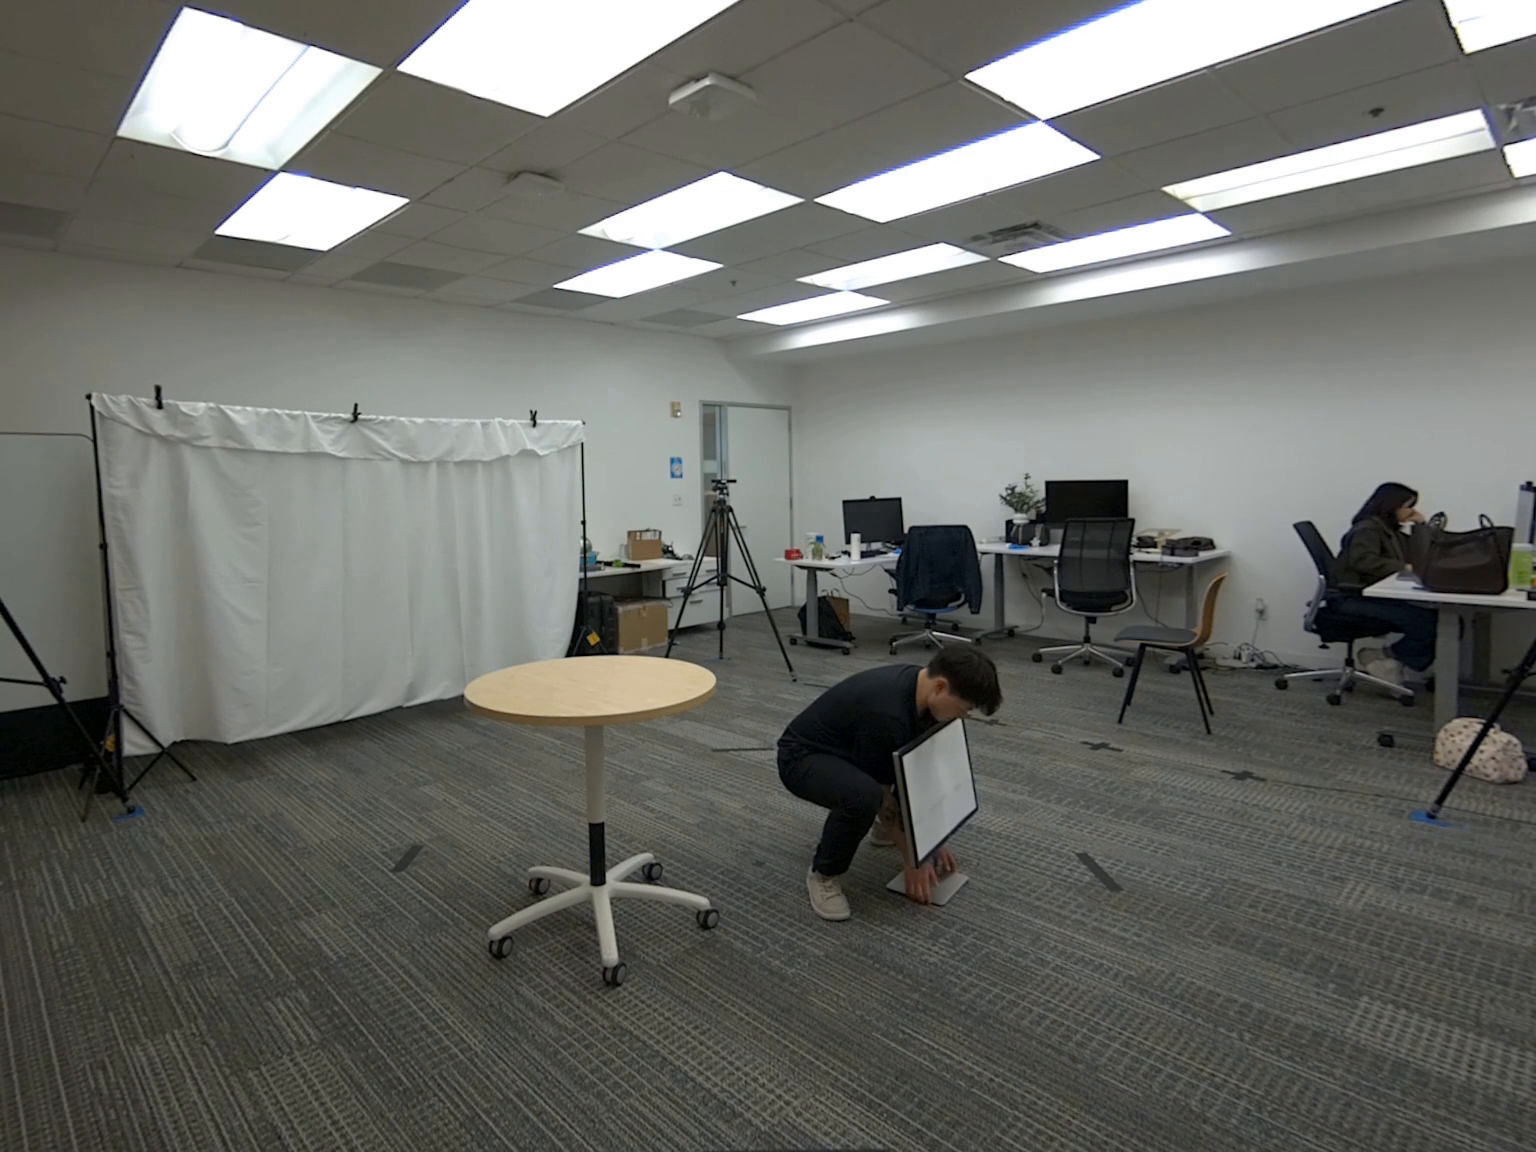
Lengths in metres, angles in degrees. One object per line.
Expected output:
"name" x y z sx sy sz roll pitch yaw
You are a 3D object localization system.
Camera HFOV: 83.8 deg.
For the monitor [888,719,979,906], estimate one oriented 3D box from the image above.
"monitor" 0.546 0.791 2.901 0.192 0.520 0.527 5 8 30
